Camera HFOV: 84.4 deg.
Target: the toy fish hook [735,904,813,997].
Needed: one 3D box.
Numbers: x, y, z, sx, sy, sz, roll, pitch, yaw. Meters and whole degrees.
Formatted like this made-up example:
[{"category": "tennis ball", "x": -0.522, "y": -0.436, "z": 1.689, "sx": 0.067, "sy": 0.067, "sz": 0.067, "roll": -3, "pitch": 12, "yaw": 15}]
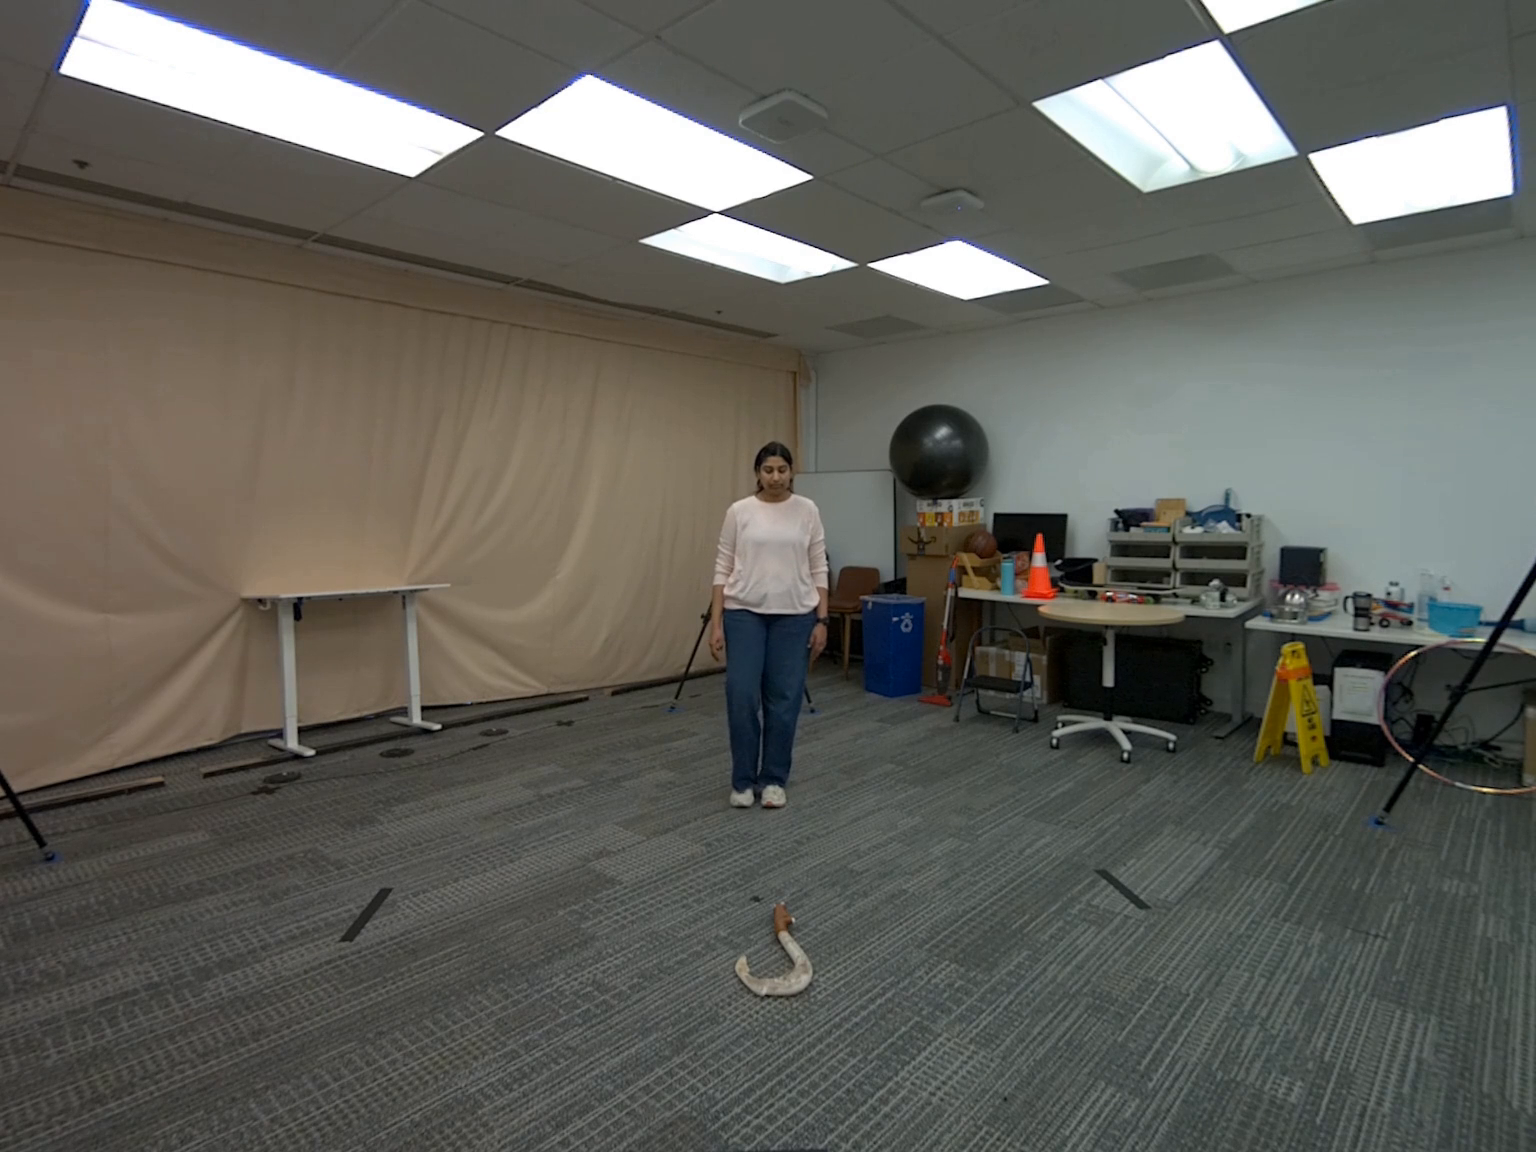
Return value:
[{"category": "toy fish hook", "x": 0.005, "y": 1.143, "z": 2.625, "sx": 0.224, "sy": 0.048, "sz": 0.510, "roll": 1, "pitch": 5, "yaw": -5}]
